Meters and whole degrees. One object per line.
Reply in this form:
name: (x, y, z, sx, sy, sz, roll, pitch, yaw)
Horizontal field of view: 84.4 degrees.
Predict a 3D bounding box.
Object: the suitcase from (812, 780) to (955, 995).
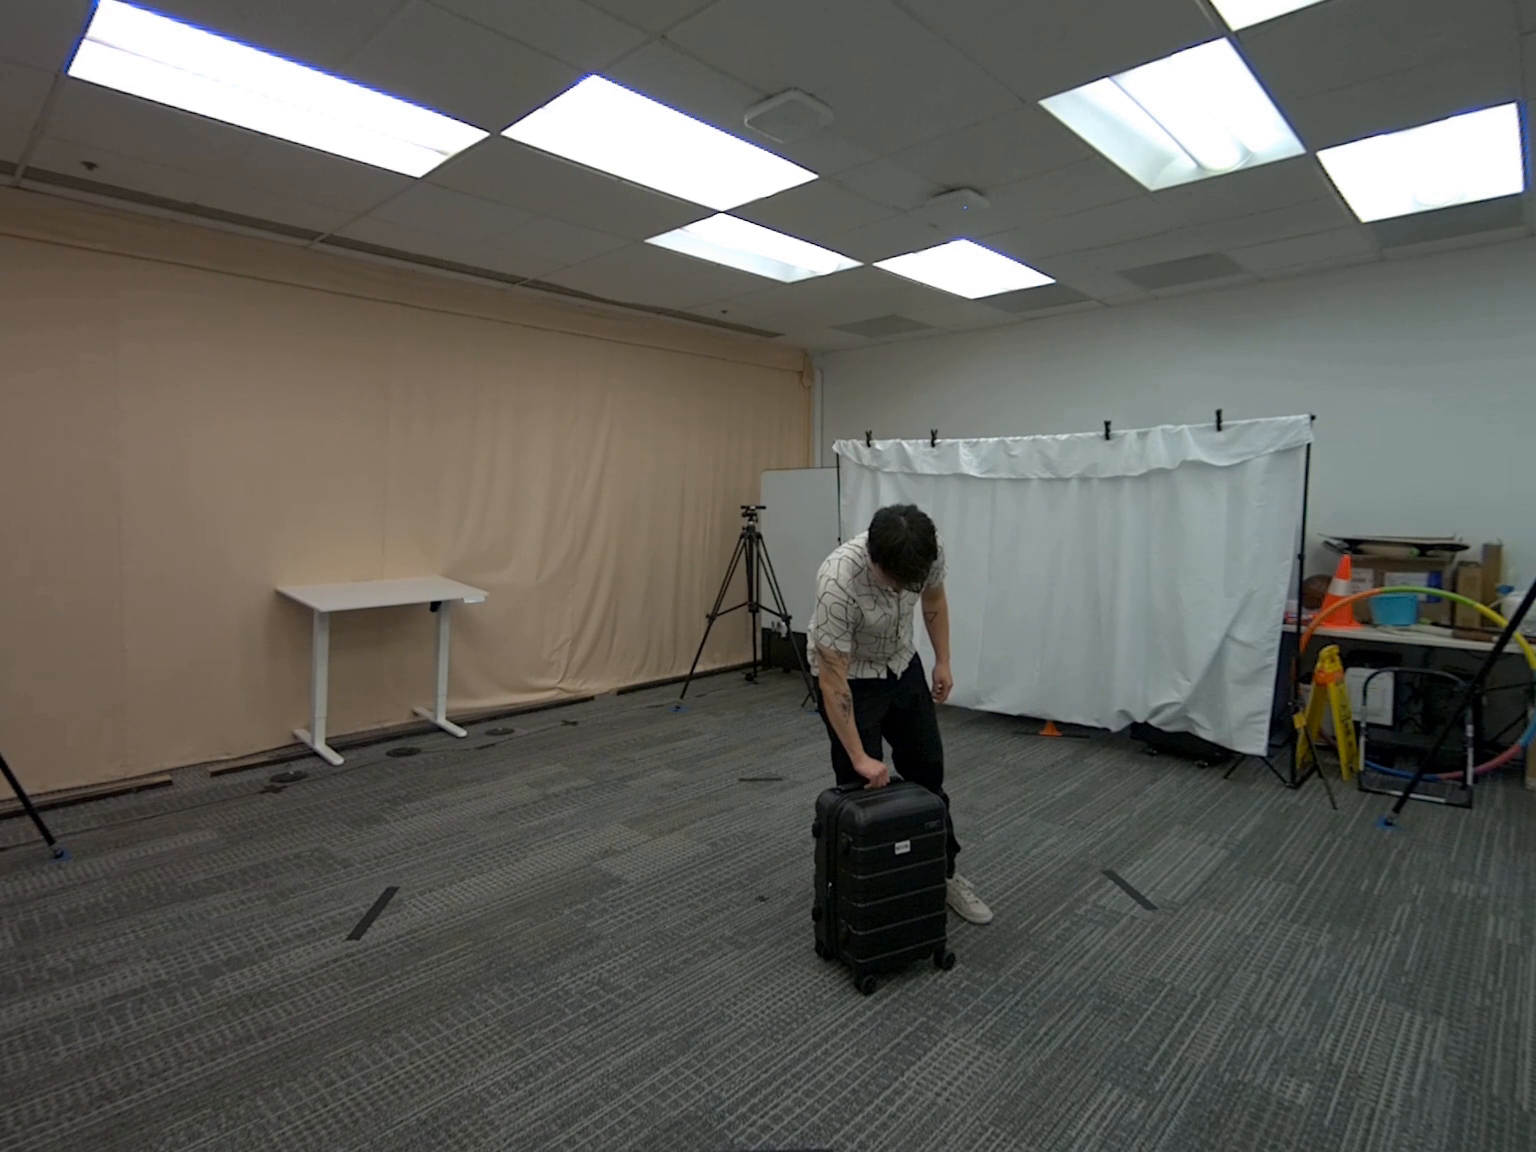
suitcase: (0.347, 0.902, 2.541, 0.366, 0.548, 0.255, -2, 4, -27)
